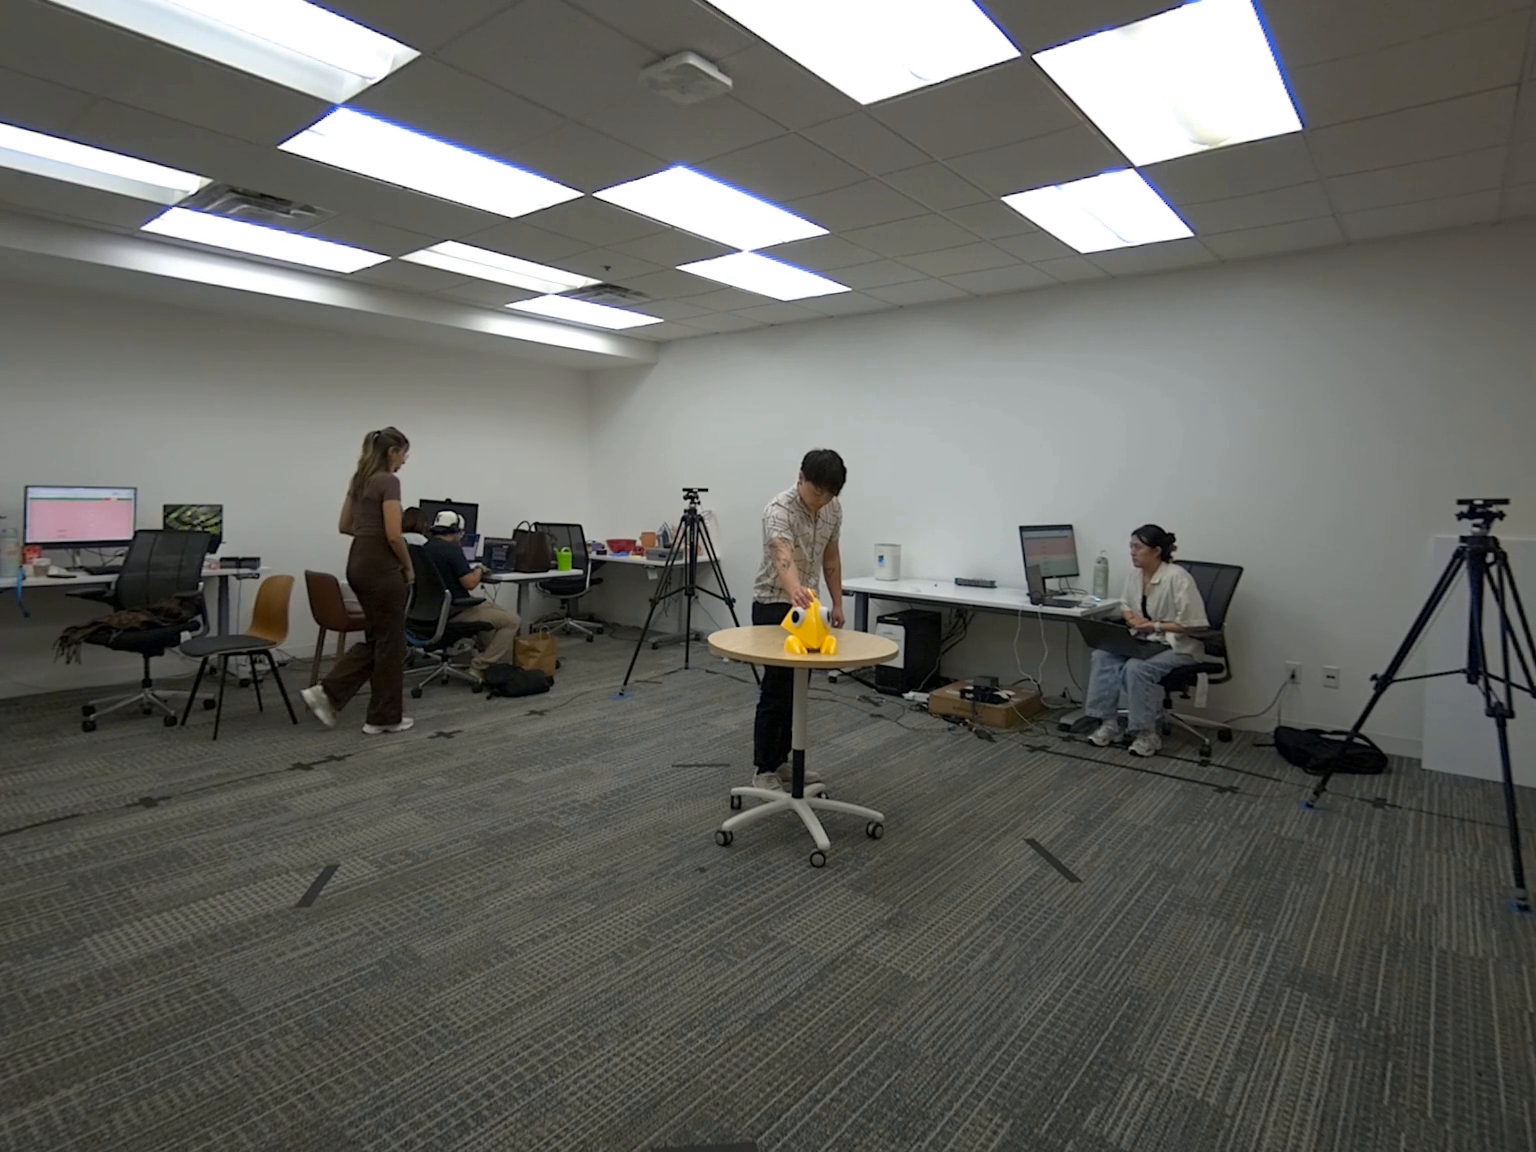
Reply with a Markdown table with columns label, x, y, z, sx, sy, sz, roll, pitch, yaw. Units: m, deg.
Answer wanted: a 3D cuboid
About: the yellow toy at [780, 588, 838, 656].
| label | x | y | z | sx | sy | sz | roll | pitch | yaw |
| --- | --- | --- | --- | --- | --- | --- | --- | --- | --- |
| yellow toy | 0.159 | 0.167 | 3.262 | 0.203 | 0.230 | 0.195 | 1 | 5 | -8 |
